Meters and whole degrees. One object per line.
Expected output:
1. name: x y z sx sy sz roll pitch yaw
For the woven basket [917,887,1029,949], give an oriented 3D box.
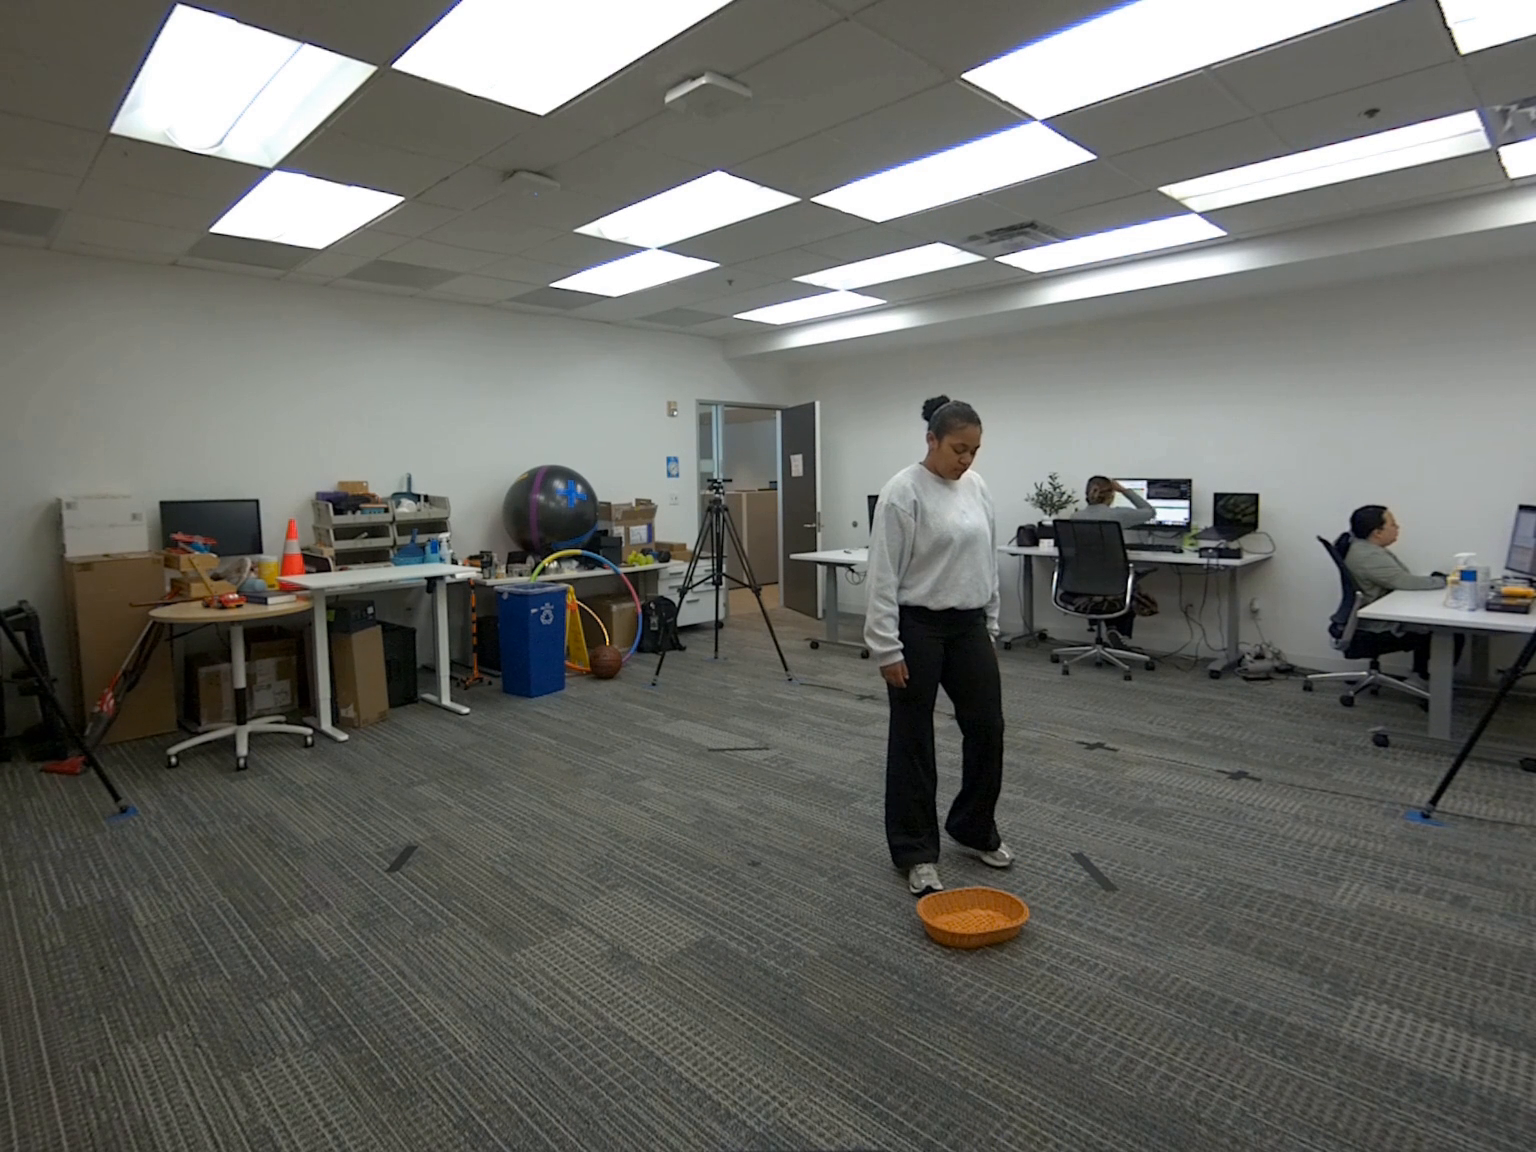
1. woven basket: 0.628 1.053 2.624 0.345 0.073 0.257 -4 6 -17
